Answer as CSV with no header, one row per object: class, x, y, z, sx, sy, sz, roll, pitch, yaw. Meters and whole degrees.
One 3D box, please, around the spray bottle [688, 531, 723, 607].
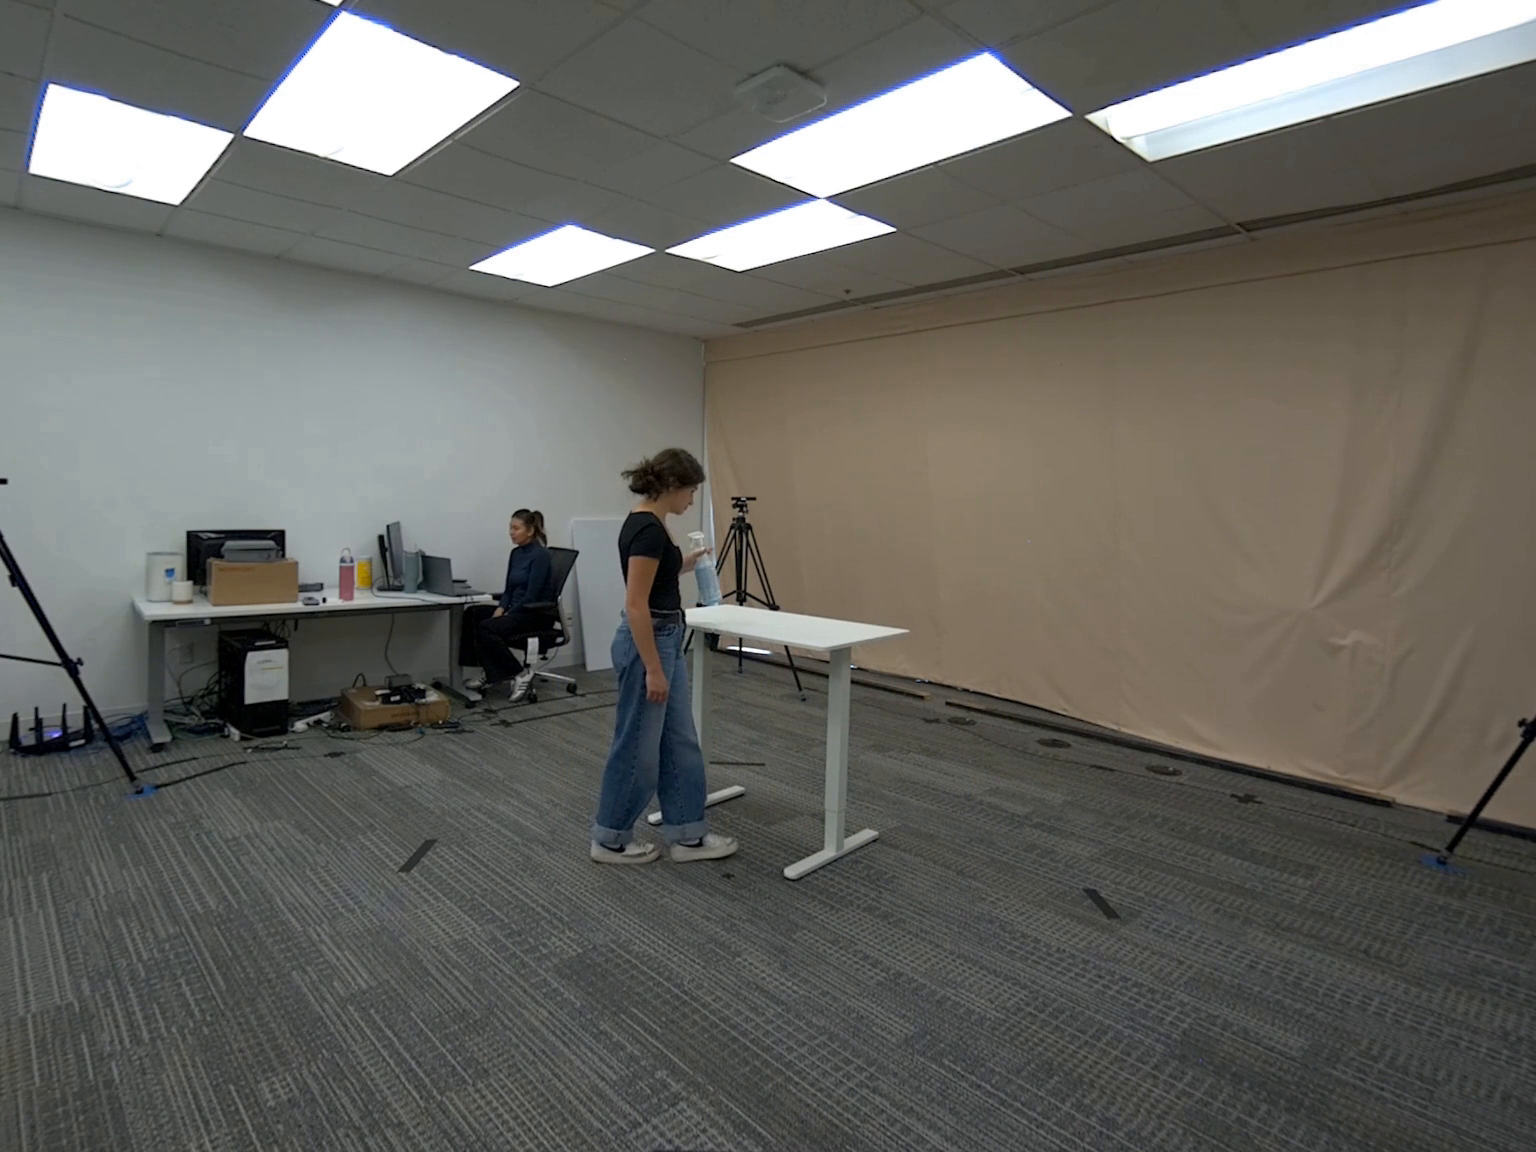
spray bottle,-0.262,-0.033,3.414,0.089,0.295,0.089,-15,9,-22
